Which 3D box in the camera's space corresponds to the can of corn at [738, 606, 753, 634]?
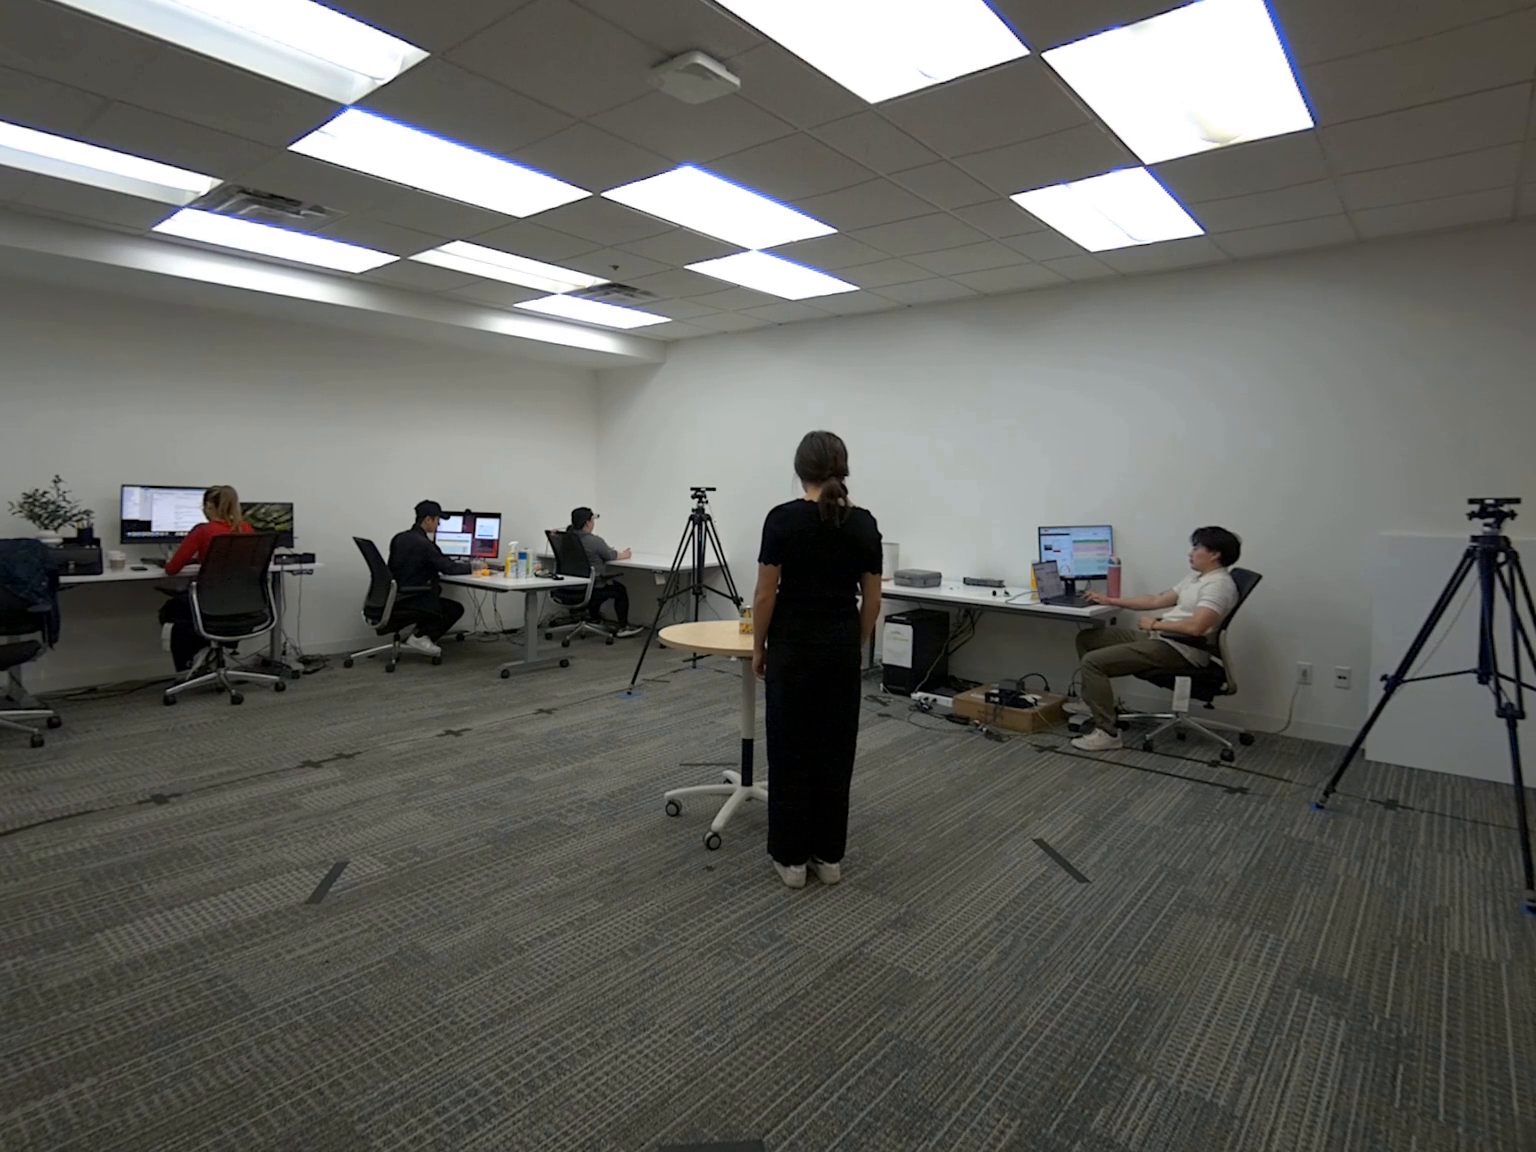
[{"bbox_3d":[-0.098,0.183,3.585,0.074,0.111,0.074,2,2,-2],"label":"can of corn"}]
